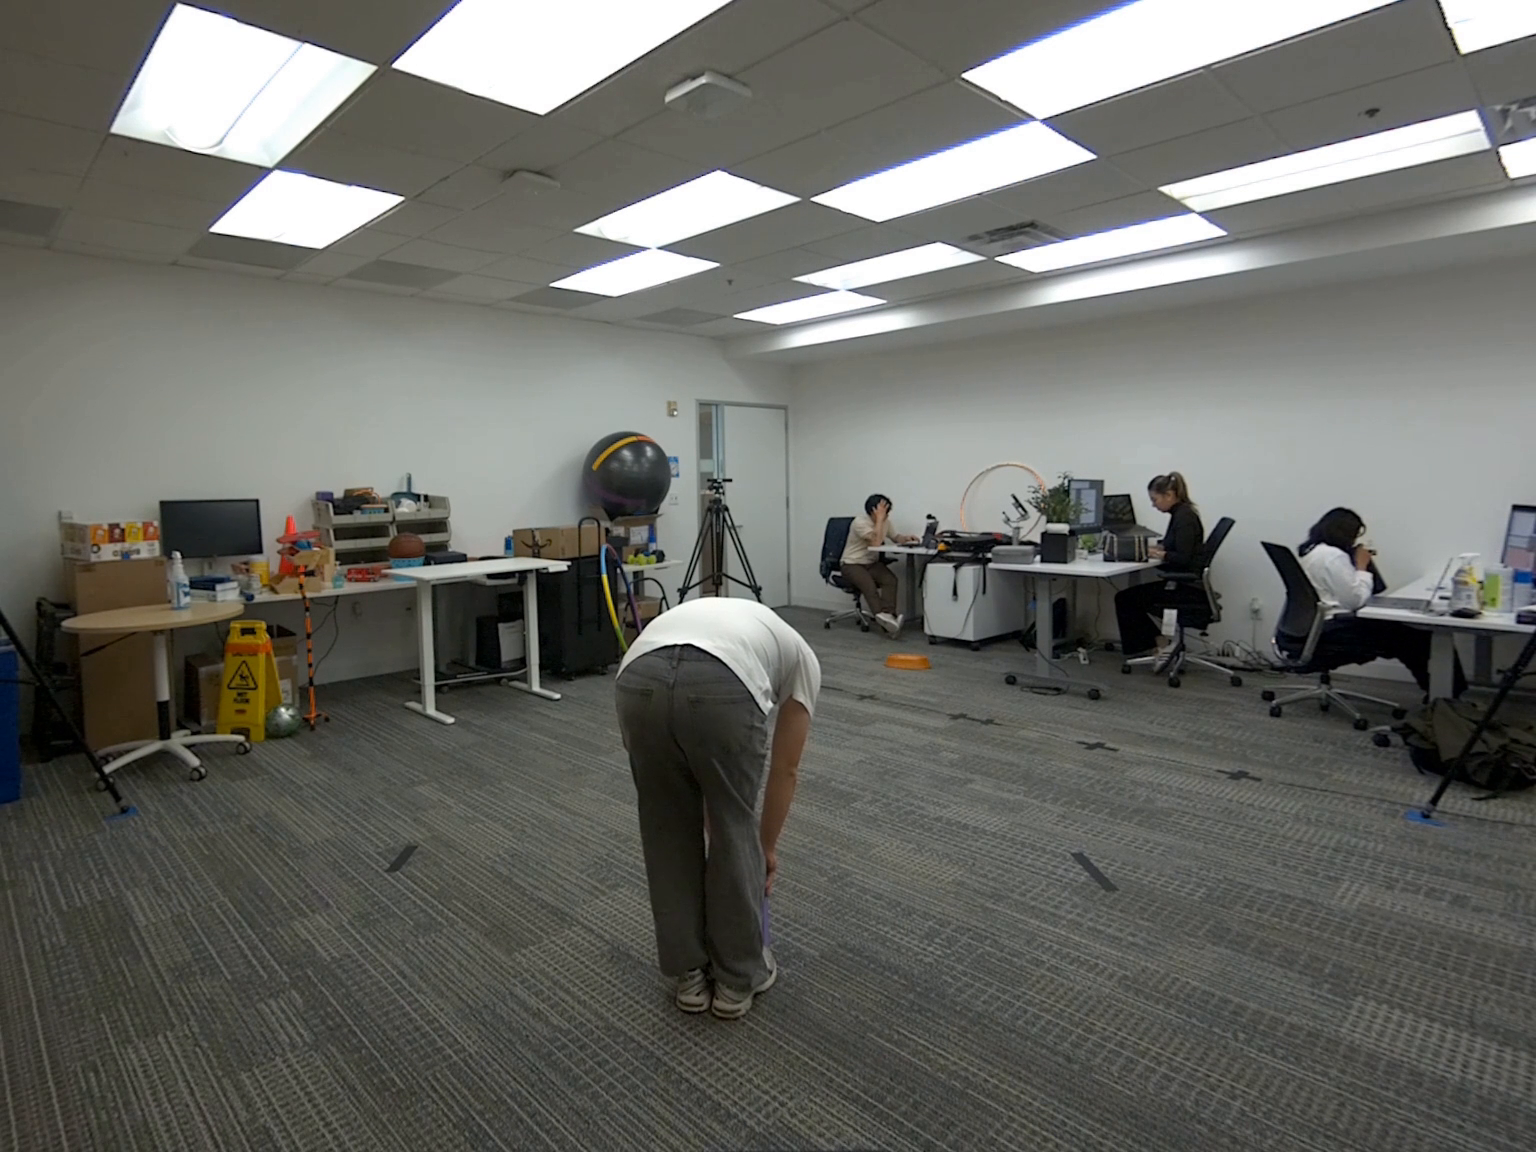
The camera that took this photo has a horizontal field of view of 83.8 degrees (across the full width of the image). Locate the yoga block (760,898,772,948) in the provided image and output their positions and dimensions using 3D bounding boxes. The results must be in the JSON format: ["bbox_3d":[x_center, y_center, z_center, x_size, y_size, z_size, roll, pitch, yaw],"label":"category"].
[{"bbox_3d":[-0.061,1.009,2.546,0.151,0.228,0.076,1,4,11],"label":"yoga block"}]
